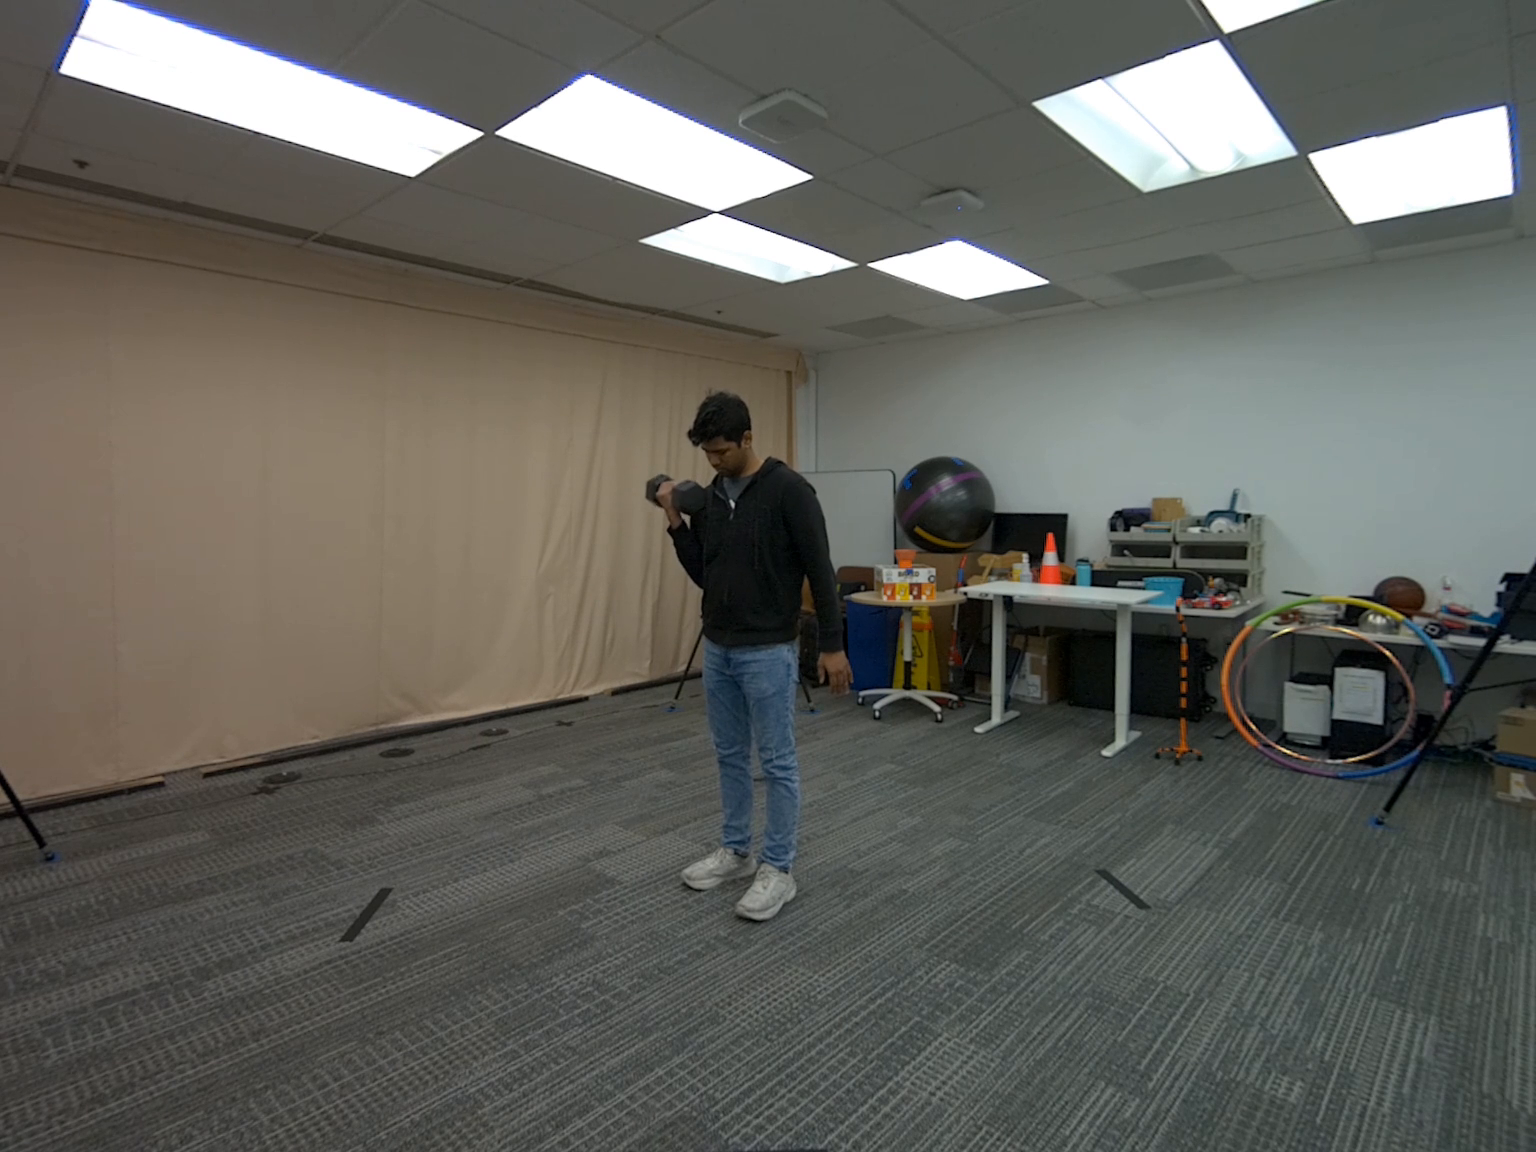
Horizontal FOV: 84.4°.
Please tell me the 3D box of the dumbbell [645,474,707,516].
[{"bbox_3d":[-0.338,-0.281,3.008,0.106,0.122,0.303,0,11,-31],"label":"dumbbell"}]
